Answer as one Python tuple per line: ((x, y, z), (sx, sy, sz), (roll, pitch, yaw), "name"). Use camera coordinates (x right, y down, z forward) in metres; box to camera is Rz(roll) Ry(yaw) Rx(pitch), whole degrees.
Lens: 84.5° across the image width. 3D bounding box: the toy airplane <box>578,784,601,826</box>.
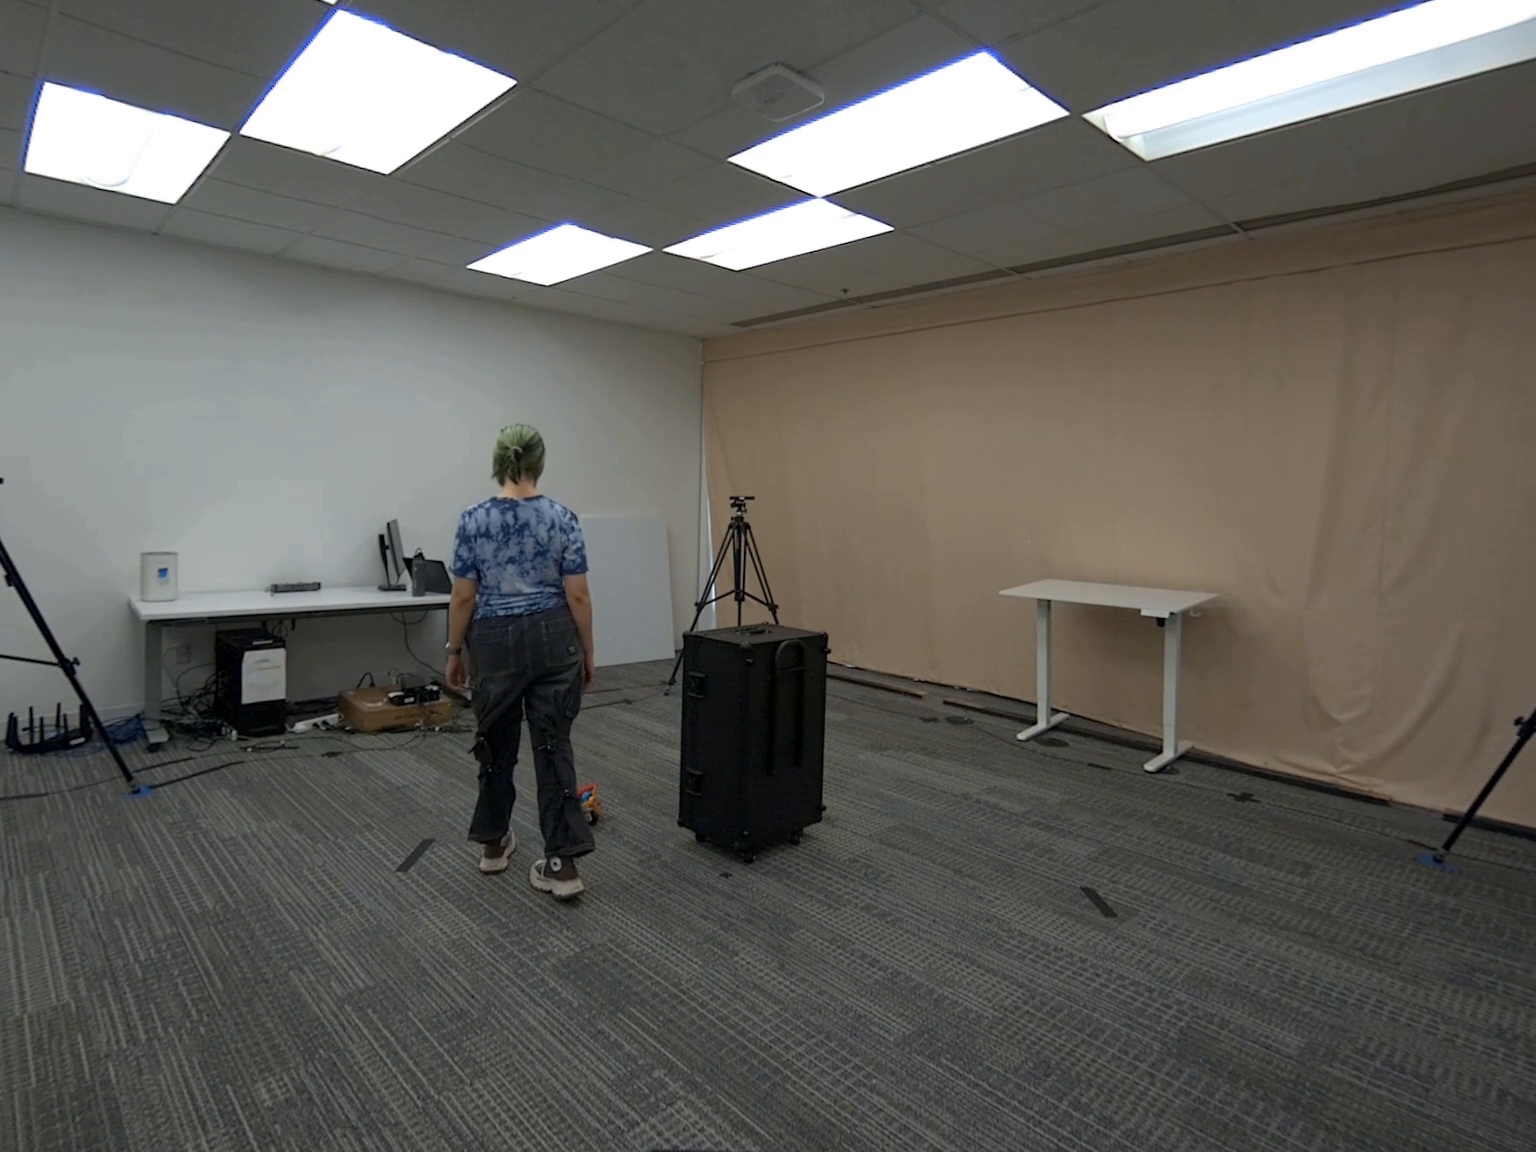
((-0.844, 0.973, 3.546), (0.258, 0.156, 0.252), (1, 4, -4), "toy airplane")
